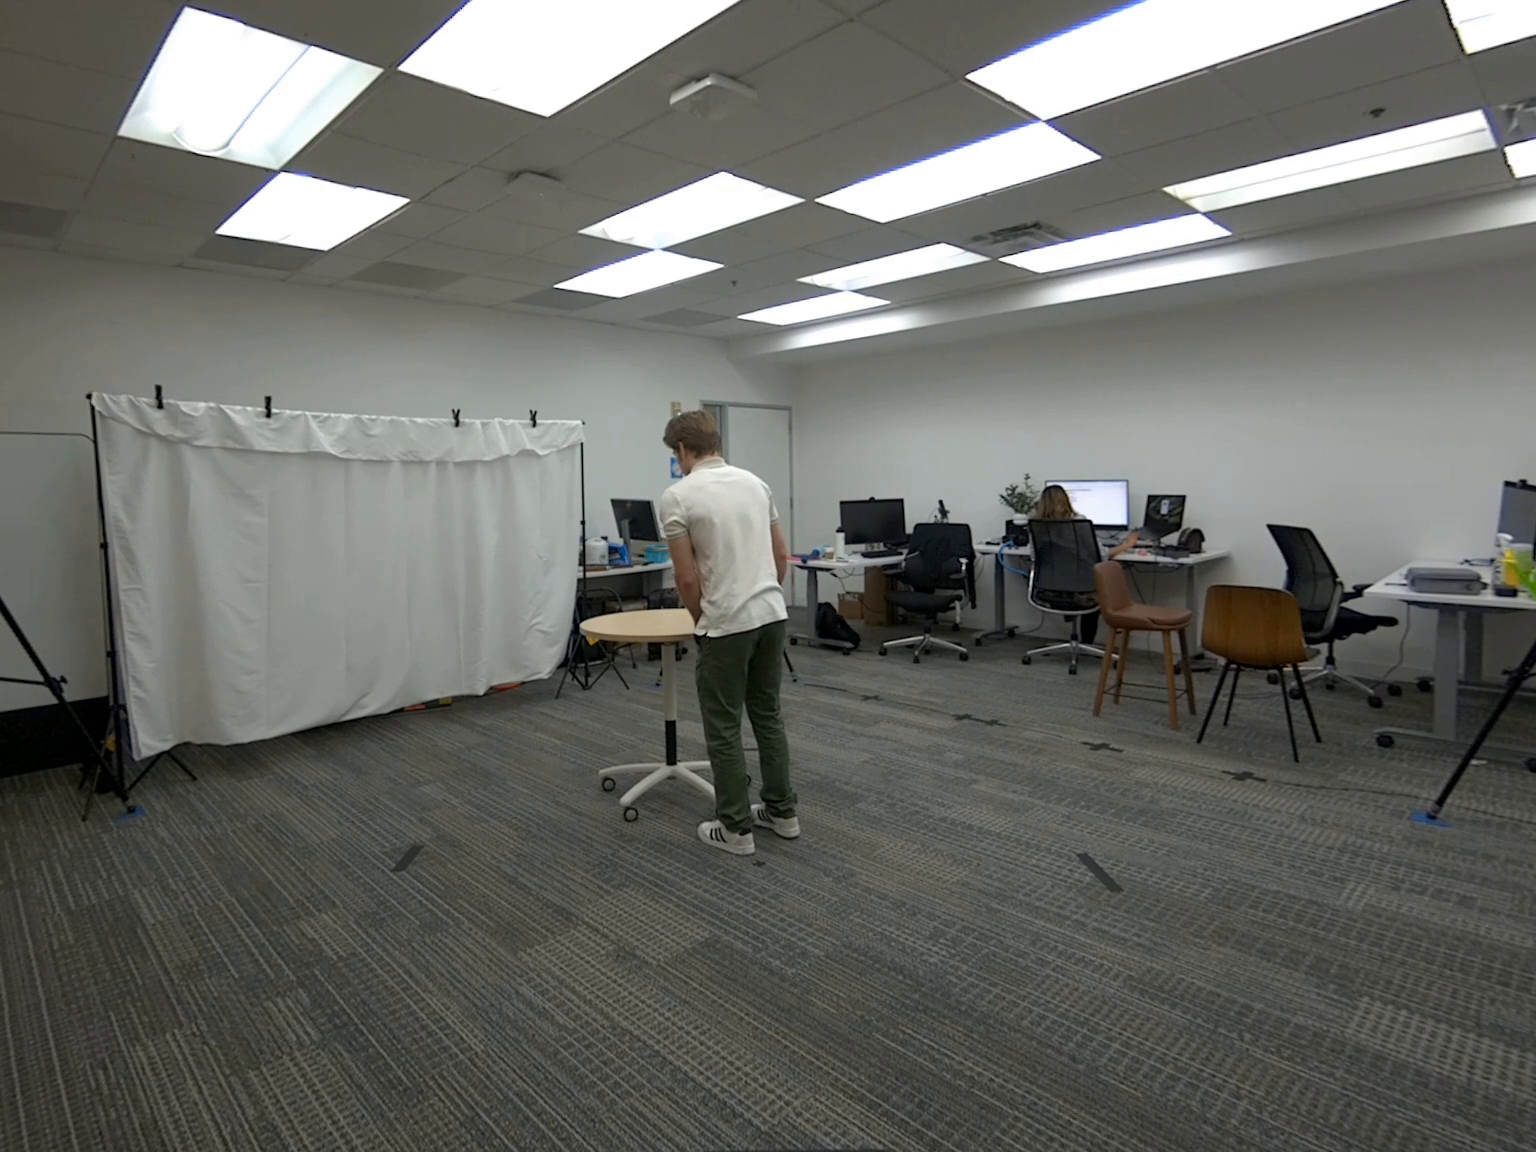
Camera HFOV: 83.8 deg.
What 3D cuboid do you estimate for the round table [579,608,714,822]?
[{"bbox_3d":[-0.436,0.591,3.791,0.763,0.792,0.767,-2,4,-2],"label":"round table"}]
